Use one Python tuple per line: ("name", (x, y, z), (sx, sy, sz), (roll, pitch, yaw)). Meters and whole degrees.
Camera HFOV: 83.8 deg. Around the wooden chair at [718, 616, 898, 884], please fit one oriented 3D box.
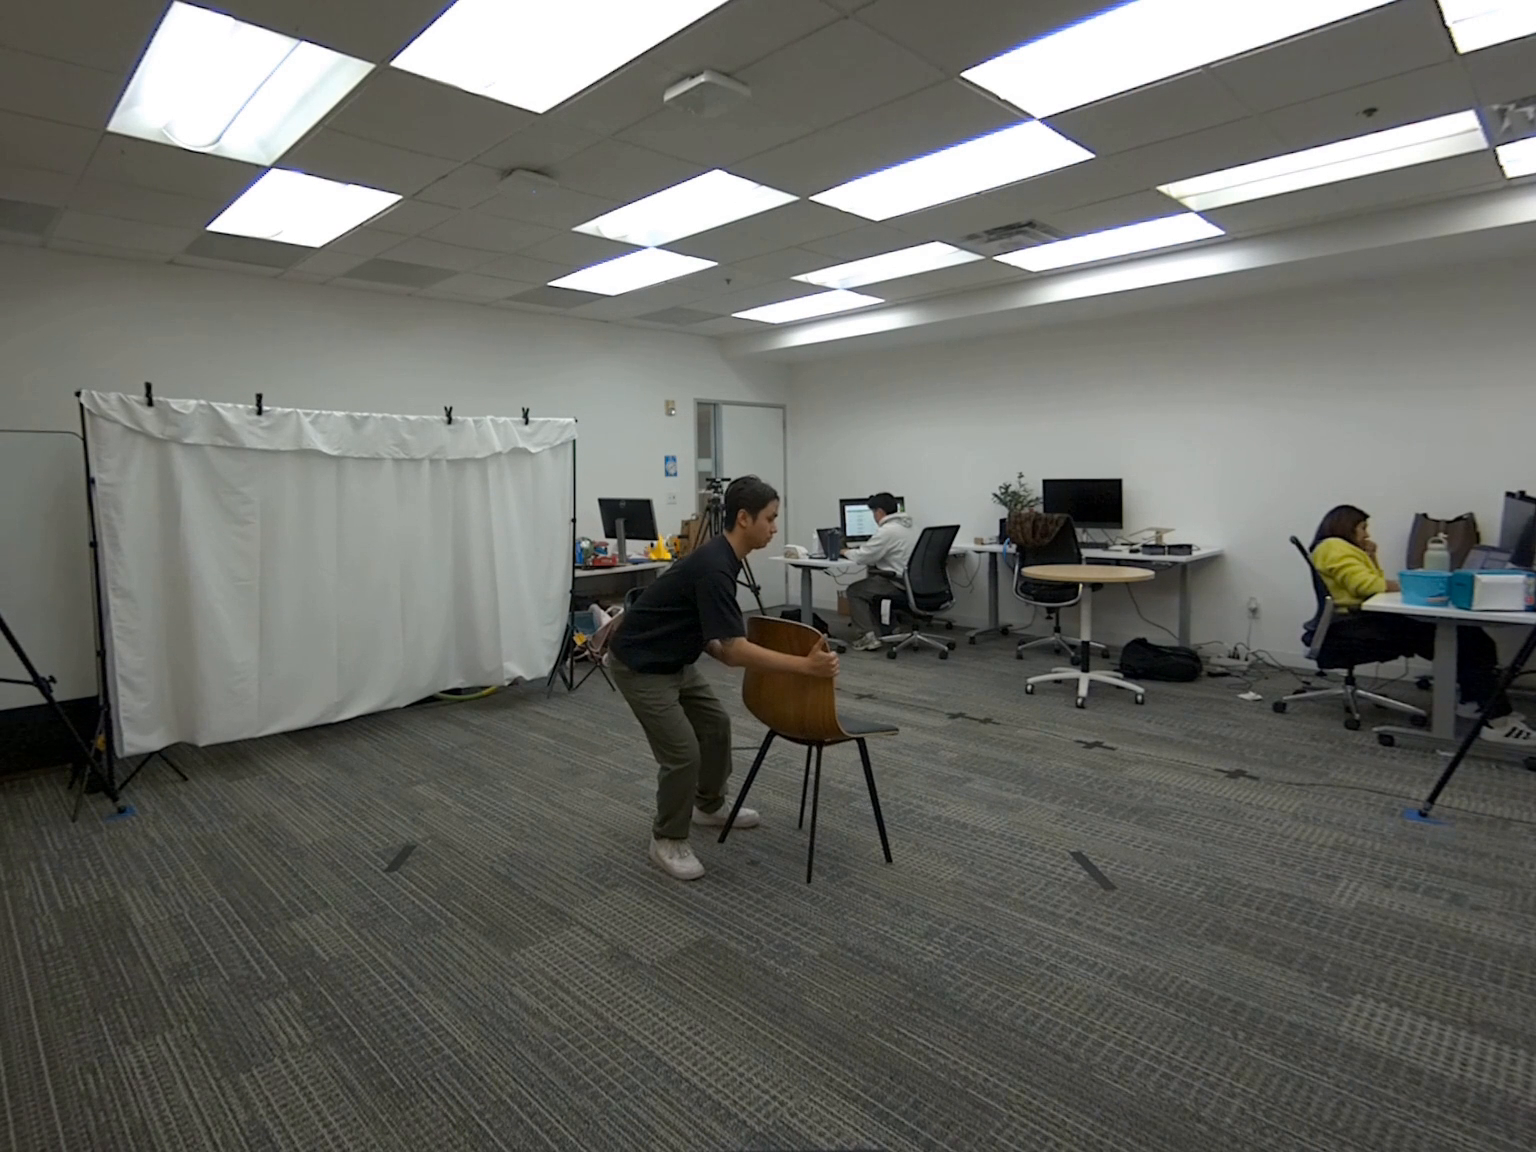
("wooden chair", (0.177, 0.576, 3.120), (0.508, 0.877, 0.493), (1, 2, -44))
